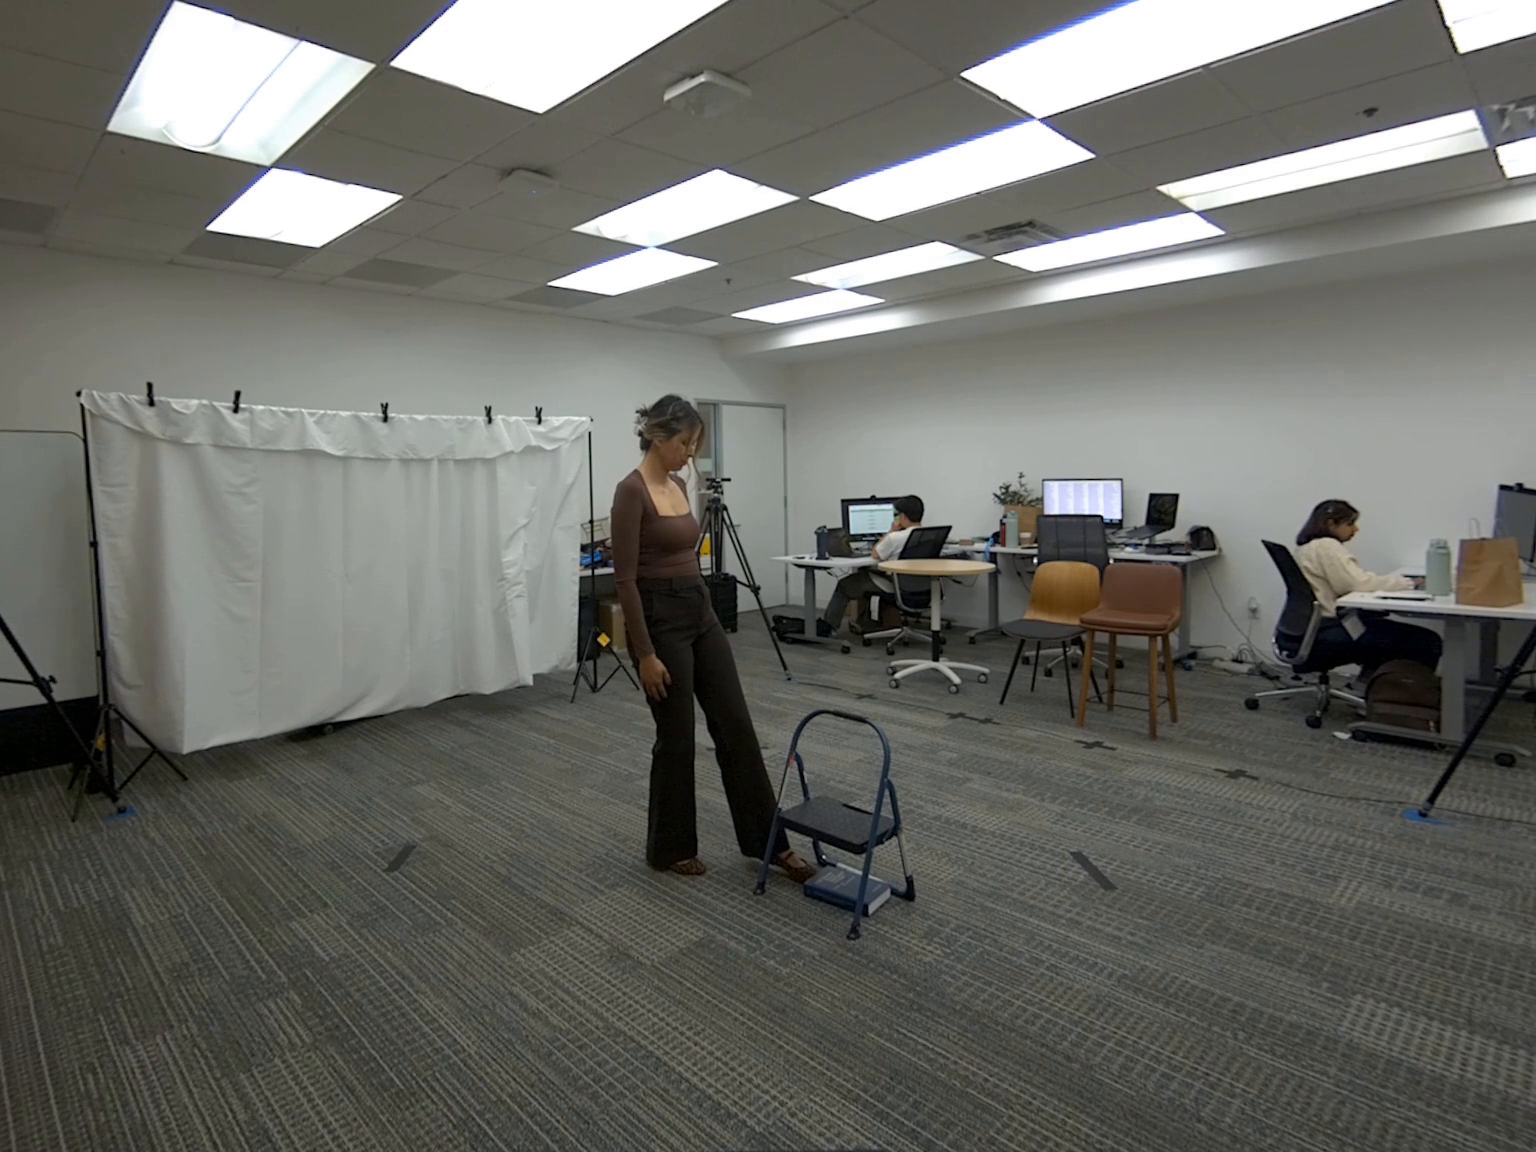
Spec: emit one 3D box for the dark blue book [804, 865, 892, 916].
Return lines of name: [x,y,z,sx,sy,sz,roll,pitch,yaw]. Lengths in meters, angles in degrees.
dark blue book: [0.264,1.042,2.834,0.252,0.045,0.159,3,8,36]
